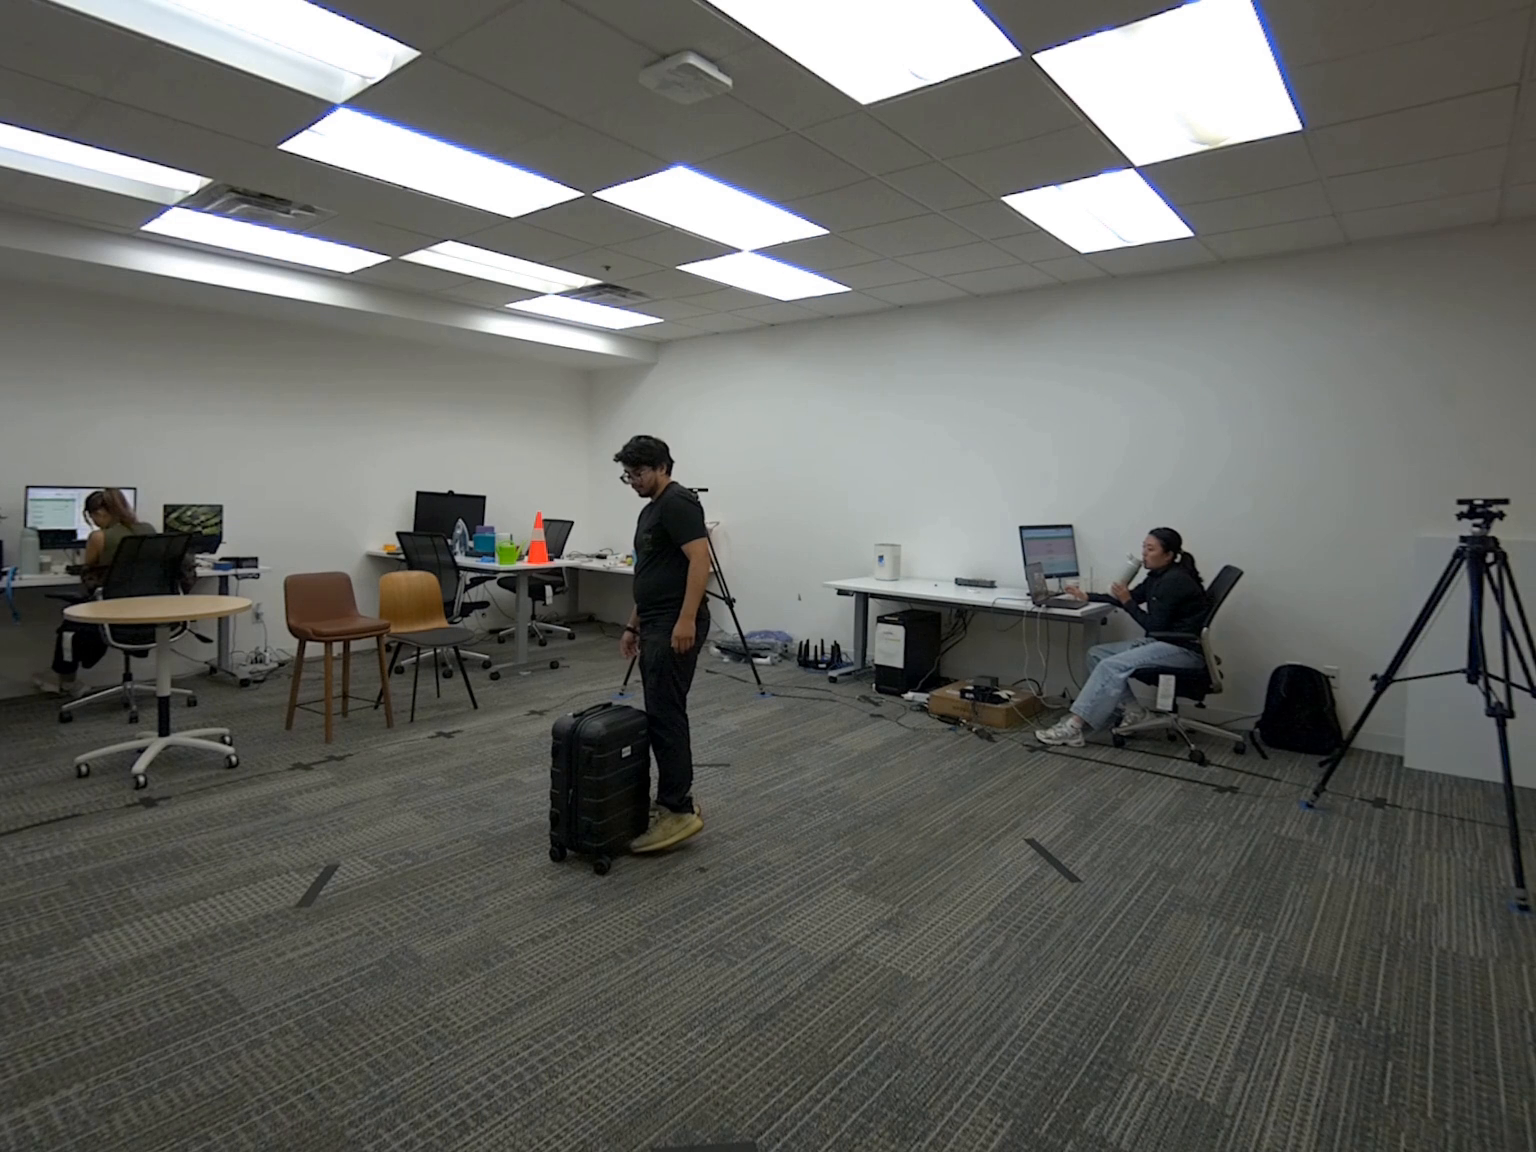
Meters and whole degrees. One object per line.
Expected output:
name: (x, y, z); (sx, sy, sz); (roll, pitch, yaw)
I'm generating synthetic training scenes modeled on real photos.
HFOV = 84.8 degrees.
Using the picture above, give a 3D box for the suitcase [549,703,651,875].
suitcase: (-0.645, 0.774, 3.232); (0.255, 0.549, 0.365); (1, 2, 29)
